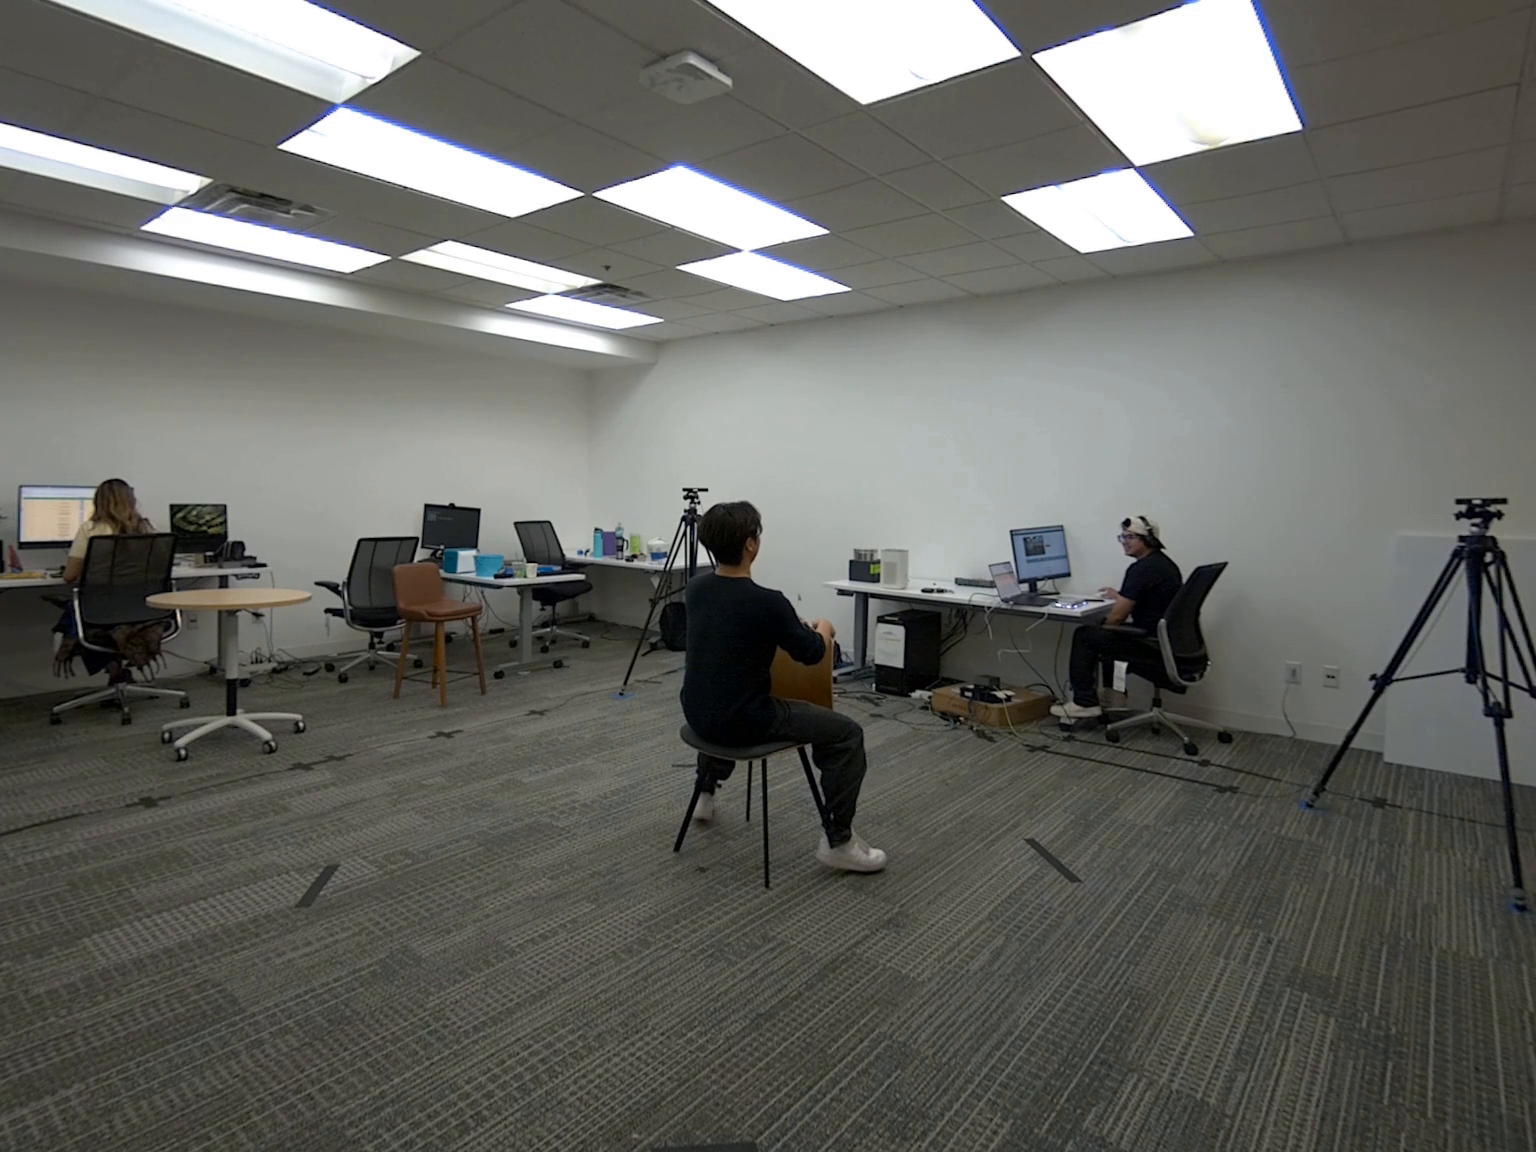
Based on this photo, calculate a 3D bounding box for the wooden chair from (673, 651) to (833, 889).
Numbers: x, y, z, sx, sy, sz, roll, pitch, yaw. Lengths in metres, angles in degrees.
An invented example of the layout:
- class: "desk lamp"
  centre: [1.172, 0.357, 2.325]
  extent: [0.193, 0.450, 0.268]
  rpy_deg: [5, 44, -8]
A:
- class: "wooden chair"
  centre: [-0.051, 0.633, 3.244]
  extent: [0.494, 0.877, 0.506]
  rpy_deg: [5, 1, 39]
